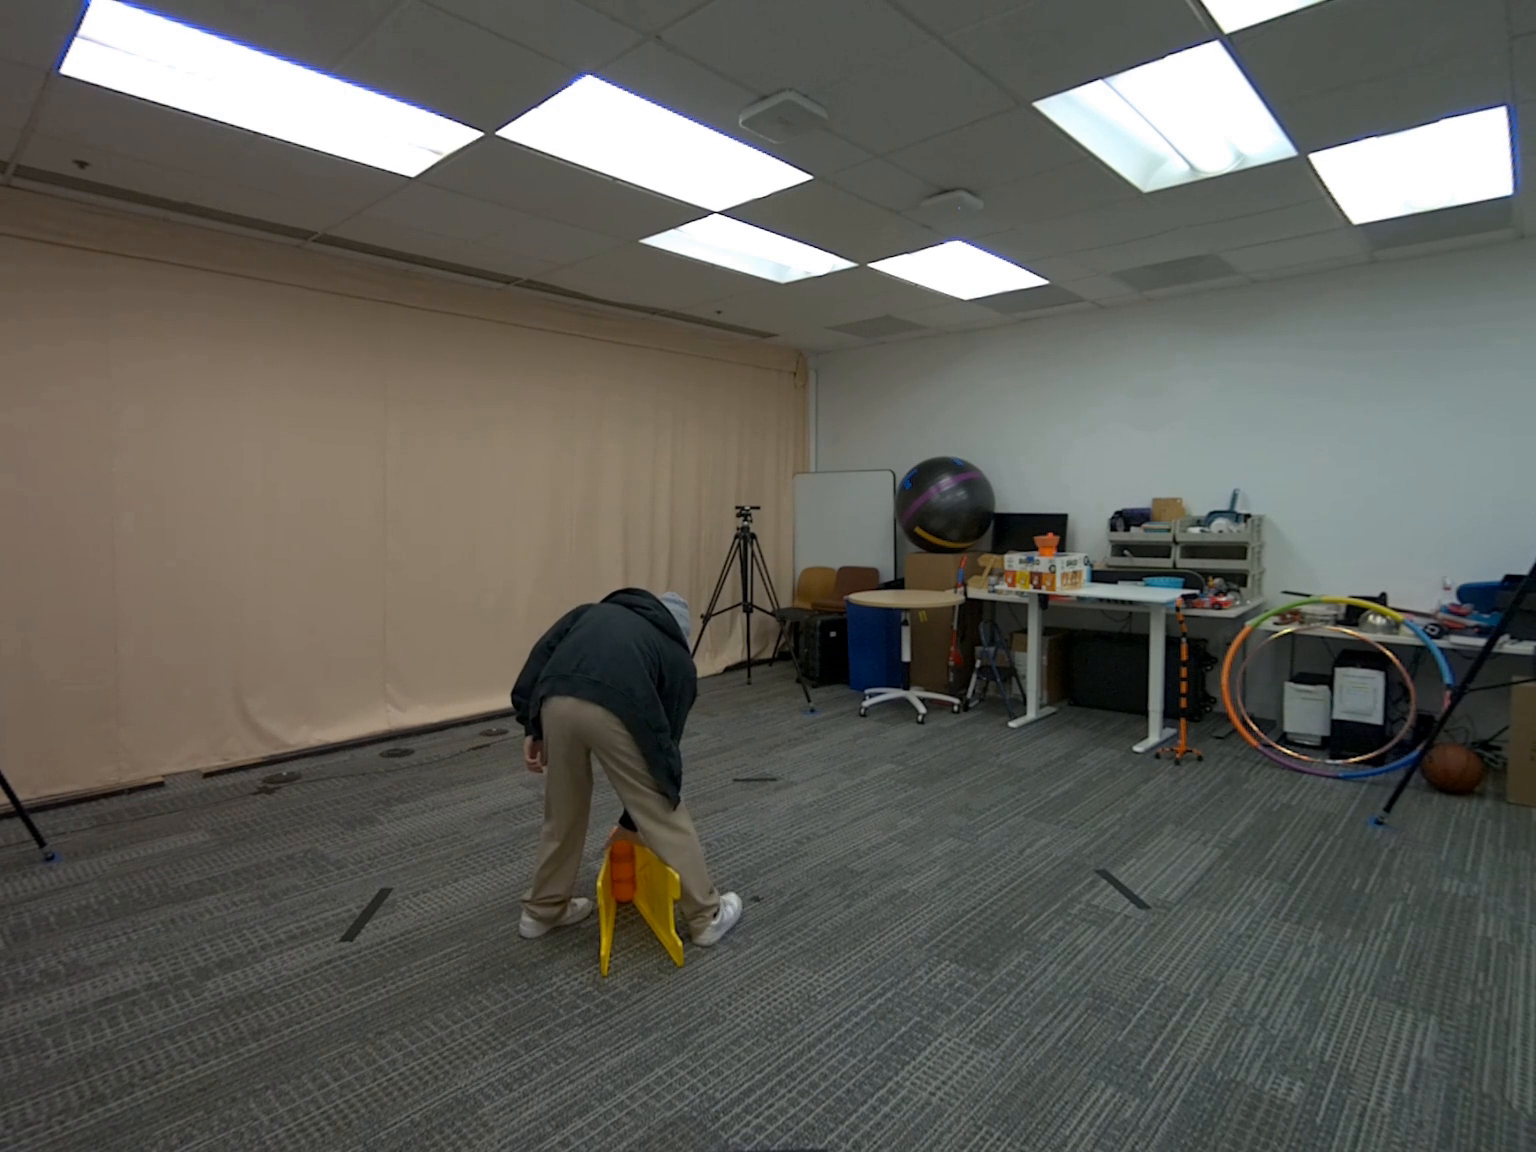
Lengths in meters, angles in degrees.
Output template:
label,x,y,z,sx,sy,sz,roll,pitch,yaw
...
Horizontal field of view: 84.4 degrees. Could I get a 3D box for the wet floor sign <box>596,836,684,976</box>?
label,x,y,z,sx,sy,sz,roll,pitch,yaw
wet floor sign,-0.479,1.039,2.822,0.286,0.282,0.656,-3,2,-15
